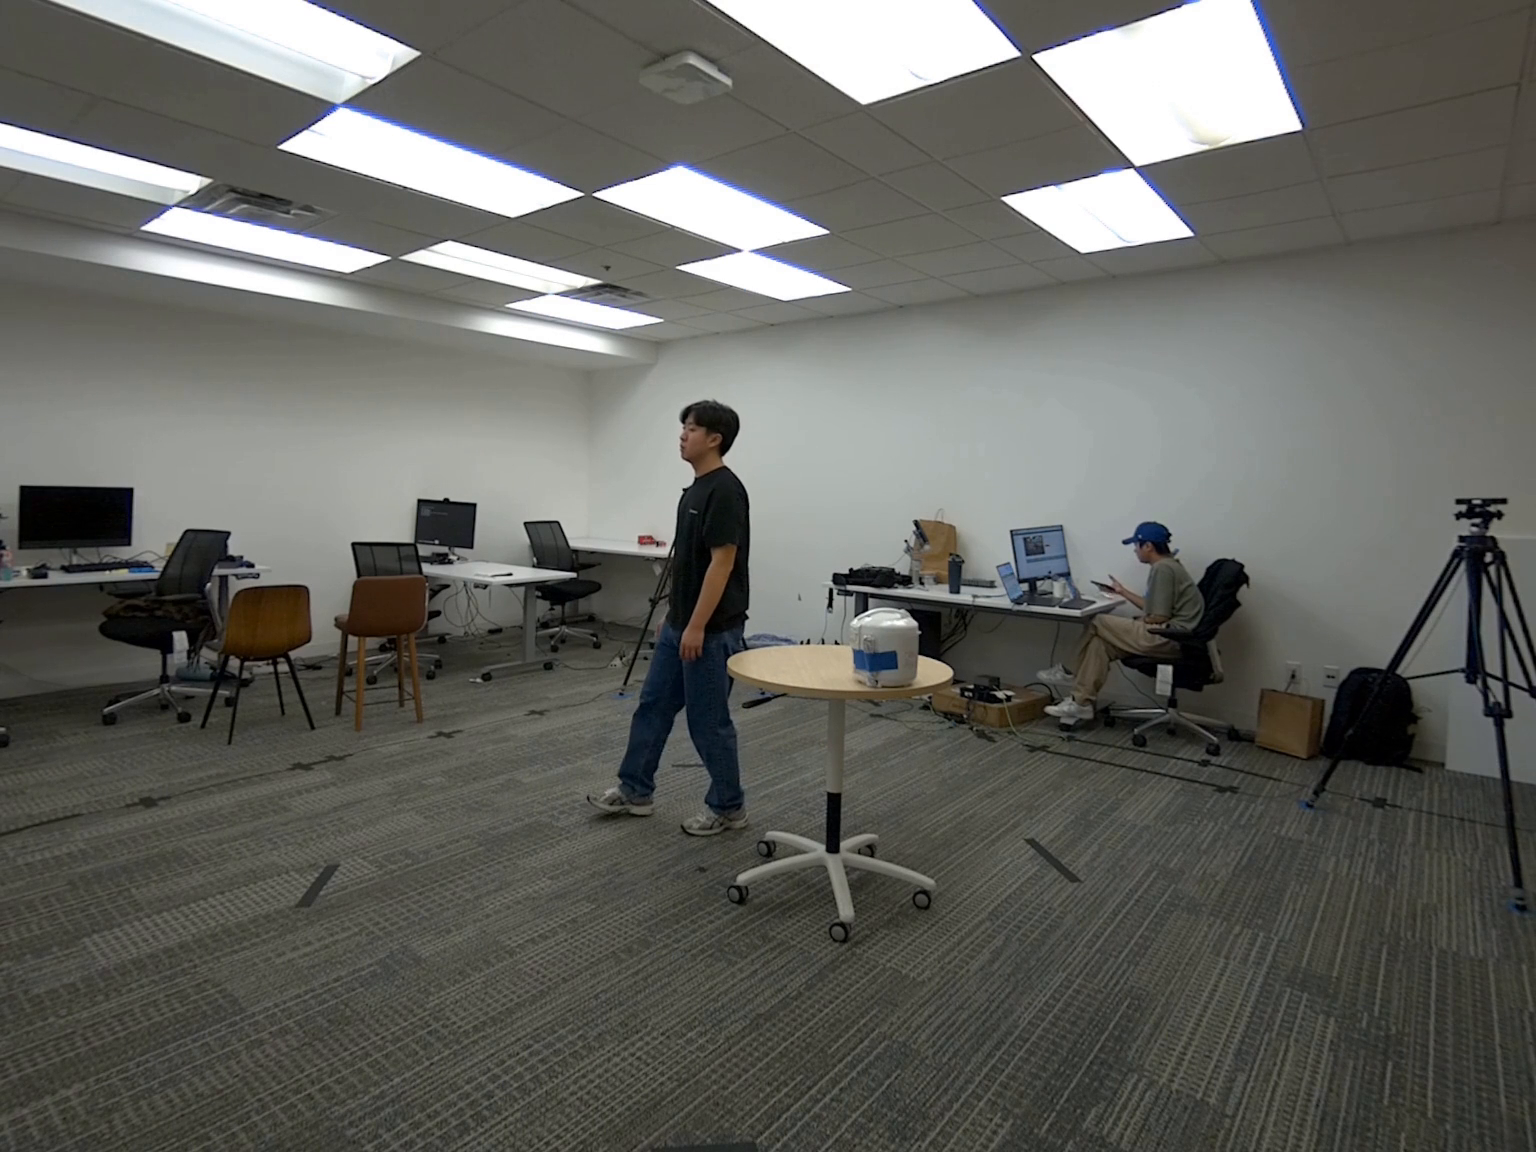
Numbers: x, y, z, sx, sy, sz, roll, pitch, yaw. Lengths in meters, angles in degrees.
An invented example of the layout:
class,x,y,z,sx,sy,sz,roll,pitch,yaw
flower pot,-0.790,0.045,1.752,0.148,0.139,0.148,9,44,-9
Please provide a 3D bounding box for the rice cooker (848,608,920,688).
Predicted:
class,x,y,z,sx,sy,sz,roll,pitch,yaw
rice cooker,0.360,0.214,2.670,0.217,0.232,0.222,0,6,-14
